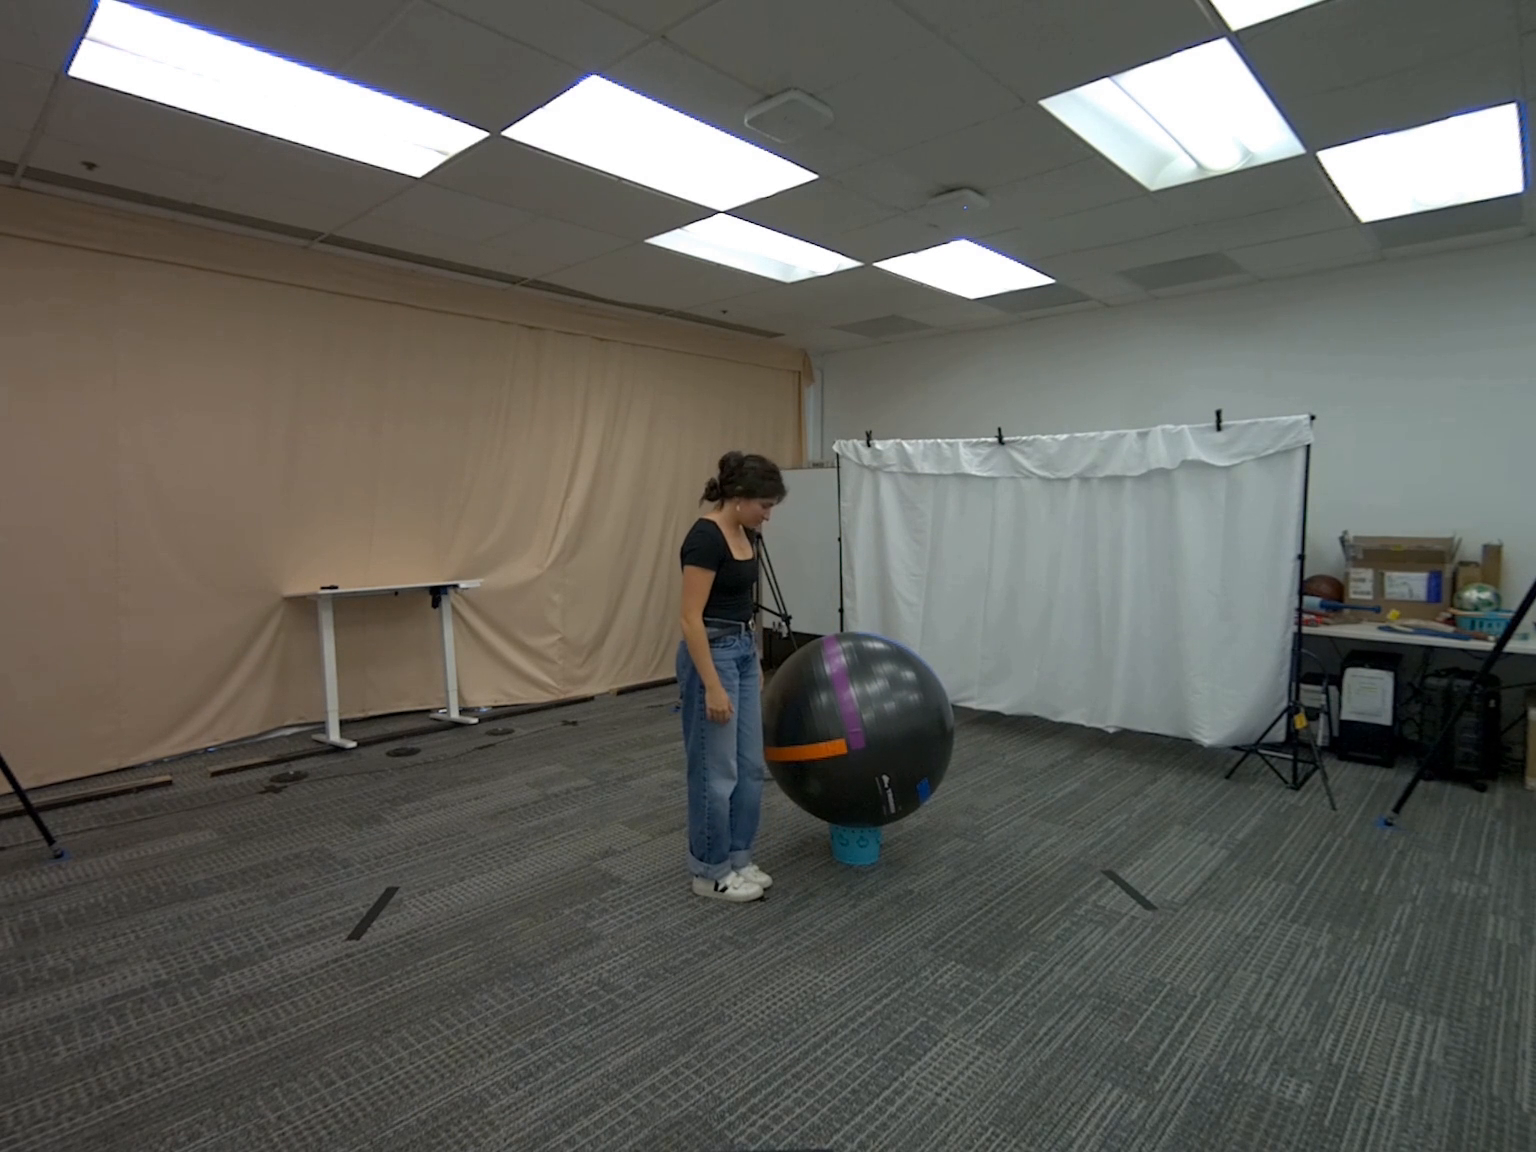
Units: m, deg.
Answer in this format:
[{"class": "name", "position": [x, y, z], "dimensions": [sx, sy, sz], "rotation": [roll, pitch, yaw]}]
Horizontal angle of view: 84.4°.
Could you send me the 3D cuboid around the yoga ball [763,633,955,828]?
[{"class": "yoga ball", "position": [0.351, 0.602, 3.334], "dimensions": [0.757, 0.756, 0.760], "rotation": [0, 4, -2]}]
